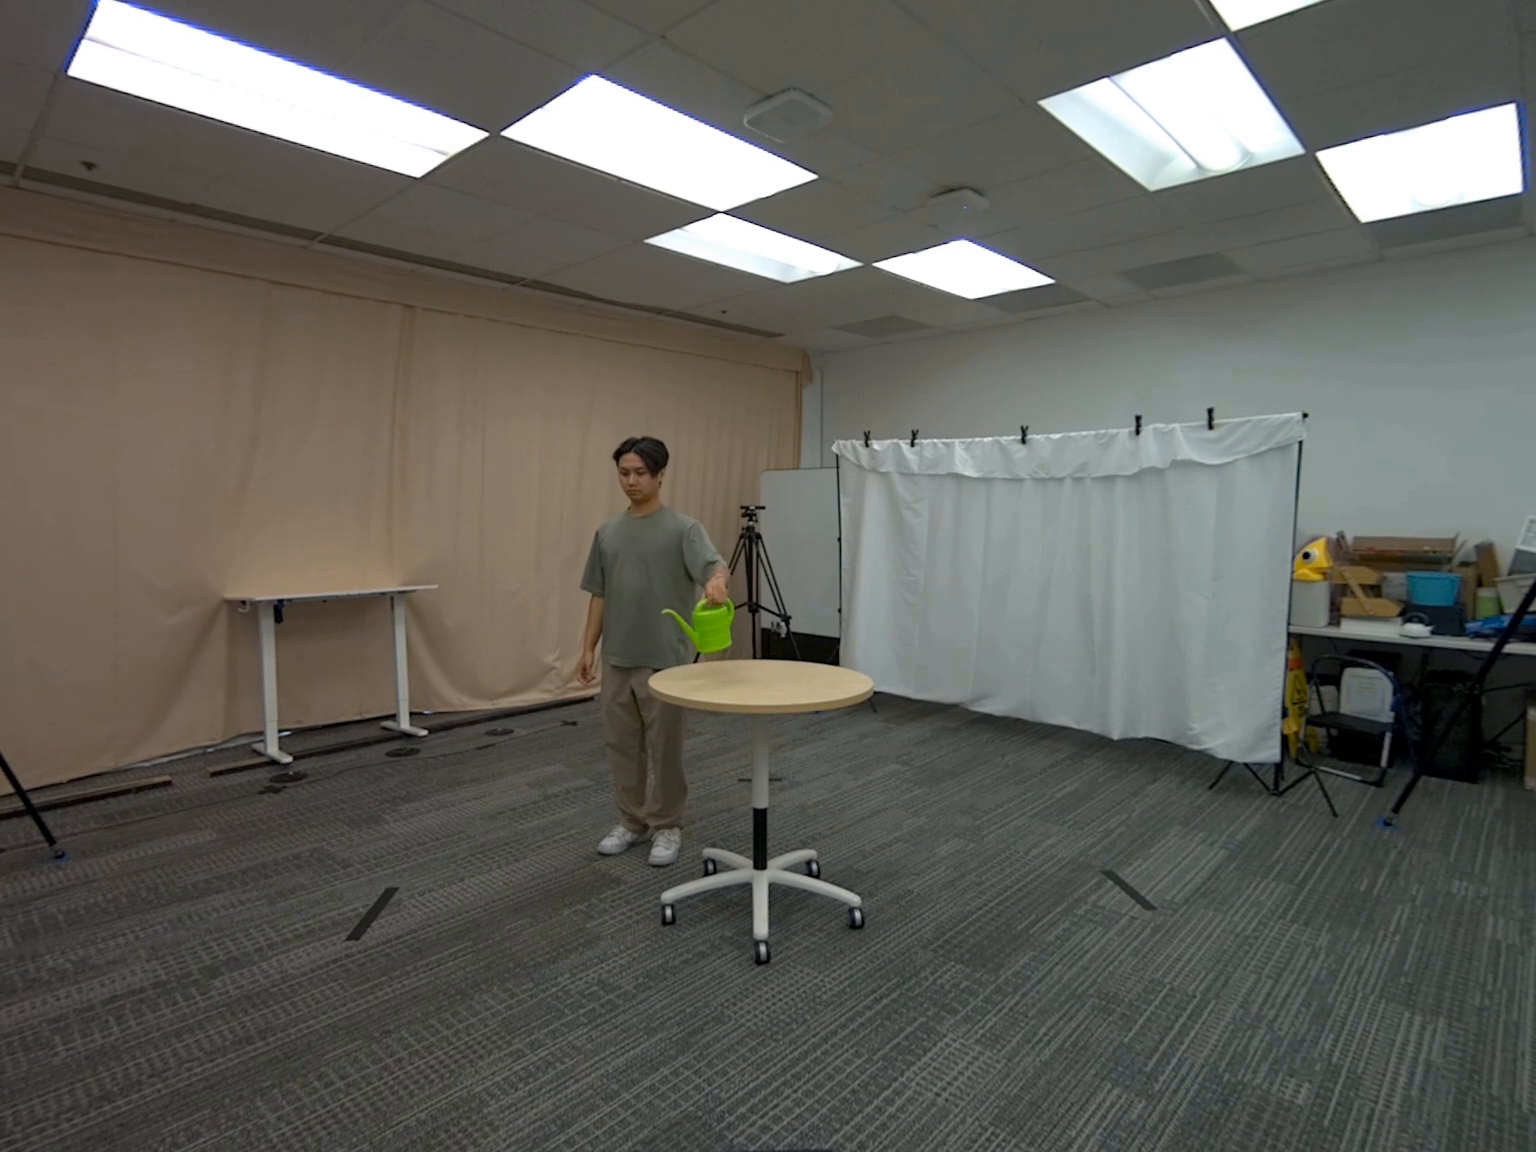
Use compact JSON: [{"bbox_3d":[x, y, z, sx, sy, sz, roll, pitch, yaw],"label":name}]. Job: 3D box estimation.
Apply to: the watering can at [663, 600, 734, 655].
[{"bbox_3d":[-0.232,0.169,2.829,0.272,0.175,0.101,-9,10,-23],"label":"watering can"}]
